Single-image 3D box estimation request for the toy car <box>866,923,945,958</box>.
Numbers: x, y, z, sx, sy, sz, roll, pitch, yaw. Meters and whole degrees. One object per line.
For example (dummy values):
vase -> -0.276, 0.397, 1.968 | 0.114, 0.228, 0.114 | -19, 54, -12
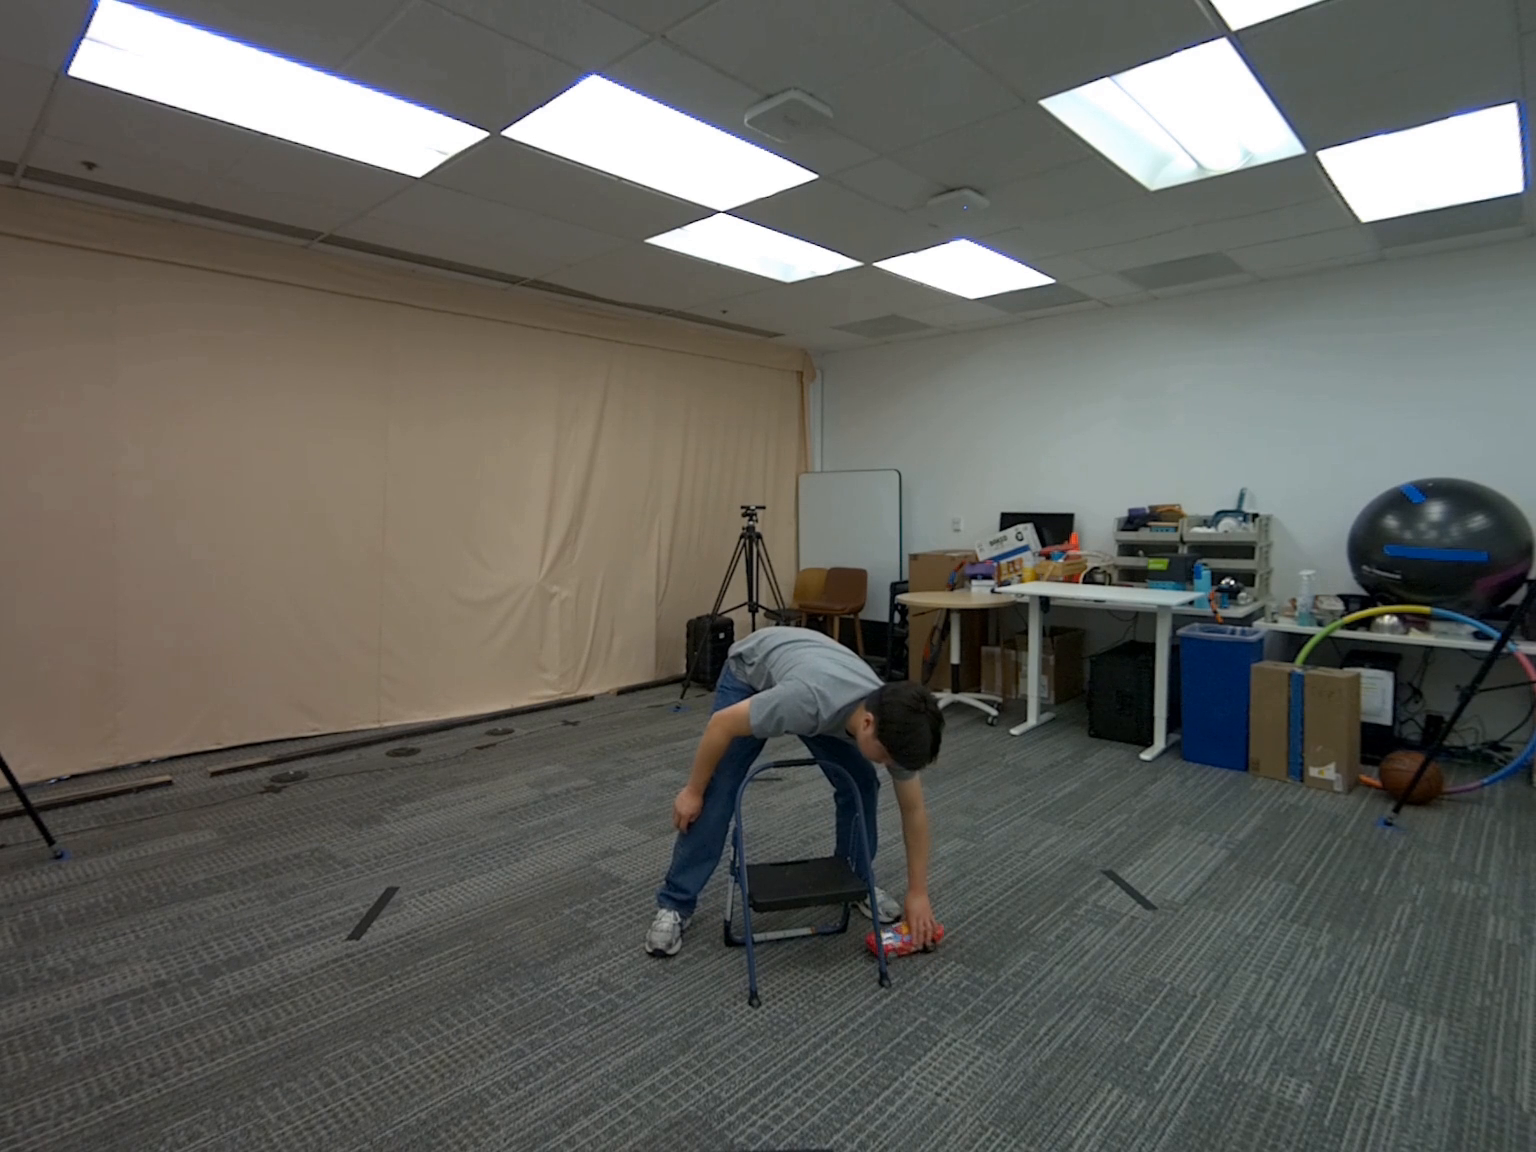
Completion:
toy car -> 0.425, 1.144, 2.633 | 0.249, 0.083, 0.134 | -13, 10, -24
